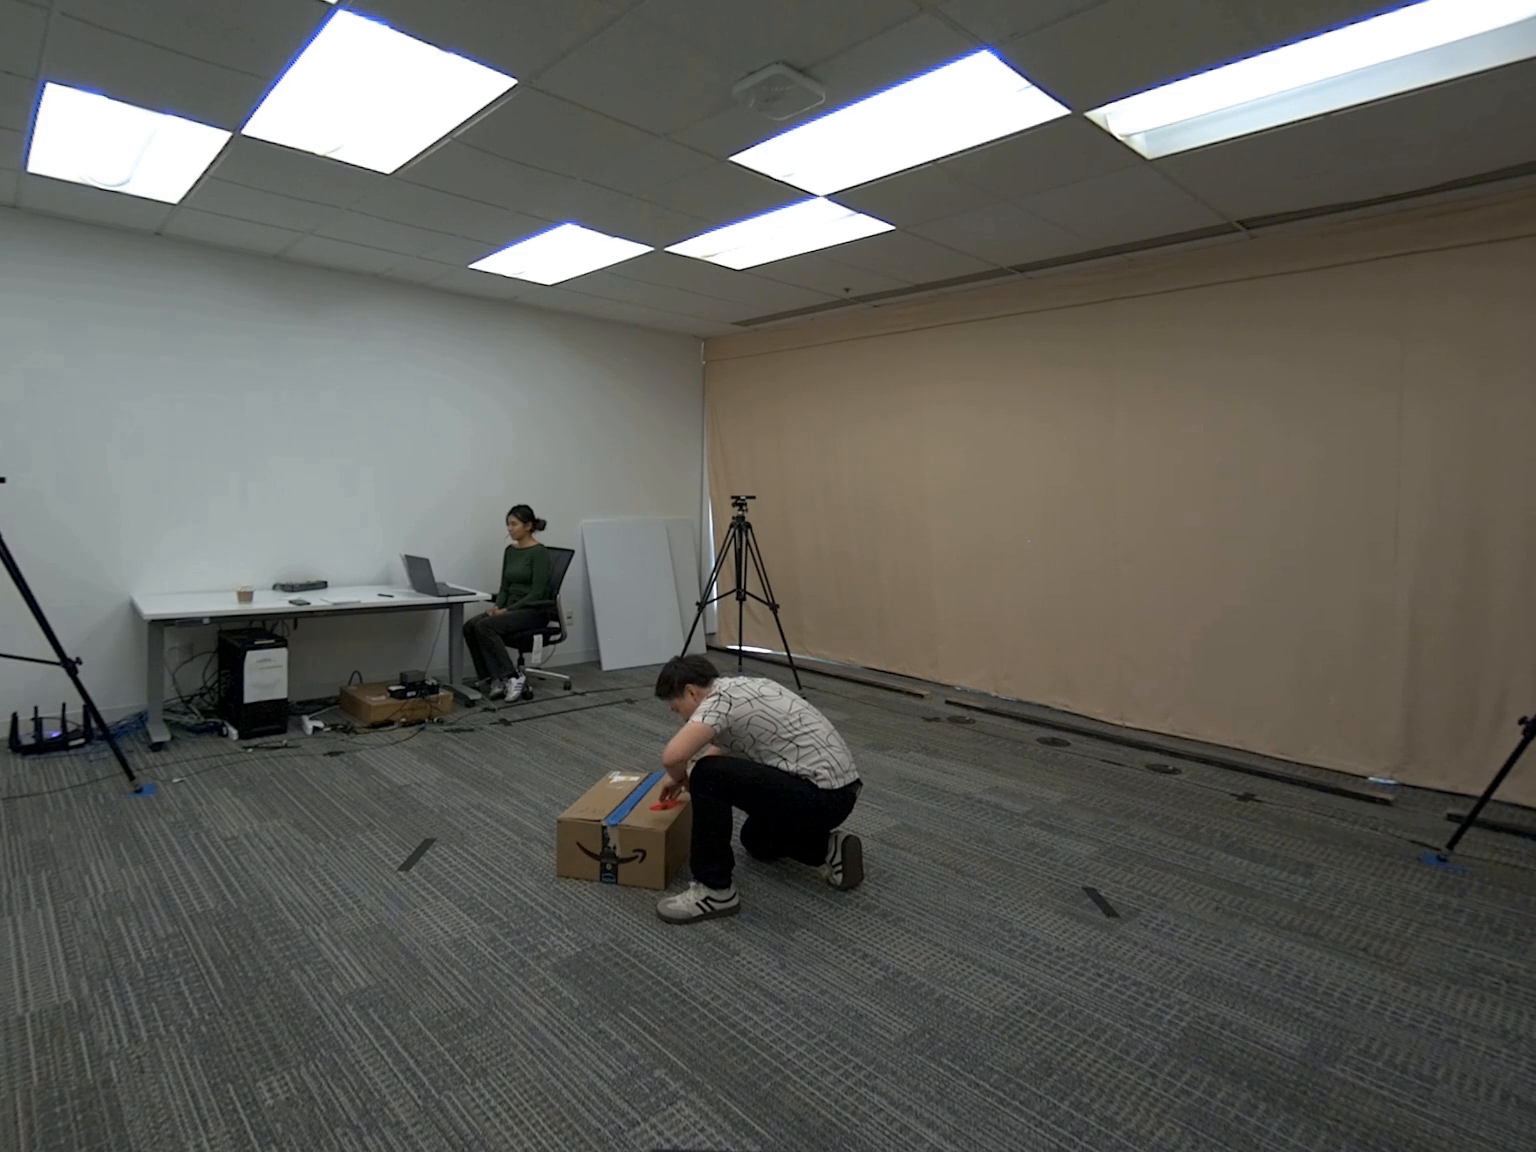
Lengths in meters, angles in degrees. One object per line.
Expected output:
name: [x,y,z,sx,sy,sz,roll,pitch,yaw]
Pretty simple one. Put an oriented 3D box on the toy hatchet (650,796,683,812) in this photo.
toy hatchet: [-0.403,0.825,3.137,0.130,0.029,0.271,-16,-1,-11]
